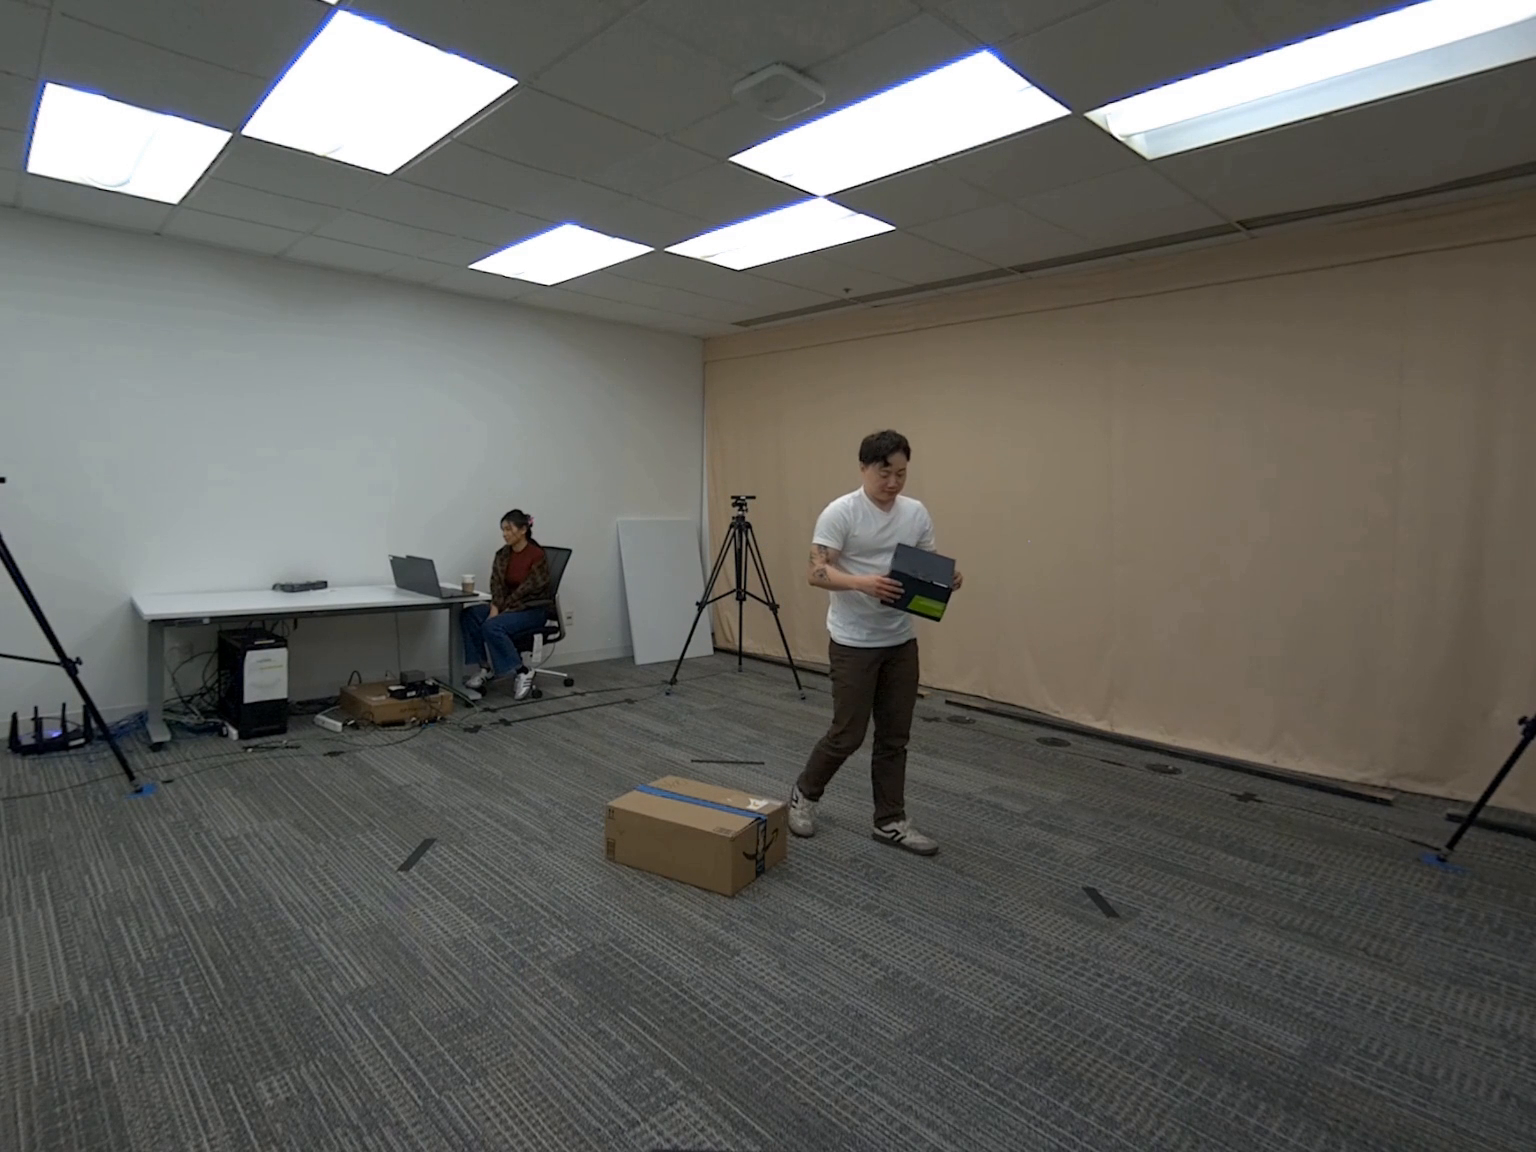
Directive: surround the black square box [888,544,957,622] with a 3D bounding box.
[{"bbox_3d":[0.539,0.023,3.126,0.230,0.153,0.218,18,33,8],"label":"black square box"}]
